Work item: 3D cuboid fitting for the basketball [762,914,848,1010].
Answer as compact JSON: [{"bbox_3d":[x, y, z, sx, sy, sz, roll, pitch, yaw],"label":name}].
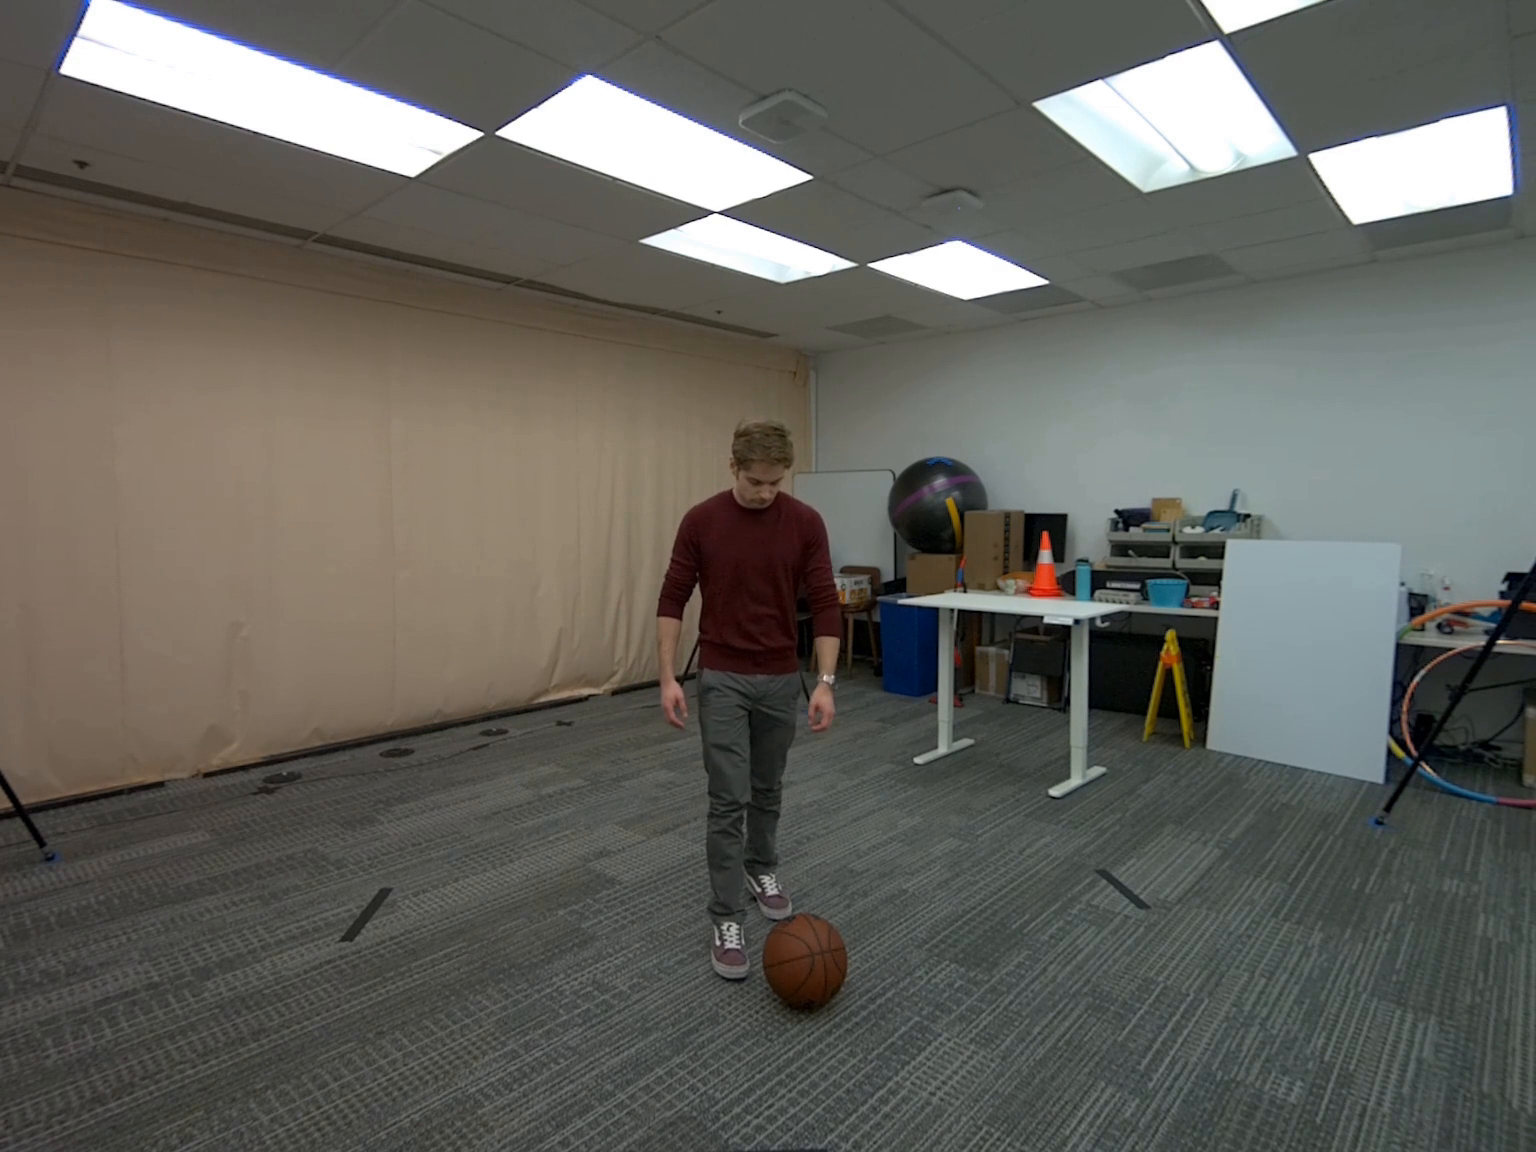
[{"bbox_3d":[0.108,1.078,2.357,0.236,0.235,0.237,0,4,-2],"label":"basketball"}]
